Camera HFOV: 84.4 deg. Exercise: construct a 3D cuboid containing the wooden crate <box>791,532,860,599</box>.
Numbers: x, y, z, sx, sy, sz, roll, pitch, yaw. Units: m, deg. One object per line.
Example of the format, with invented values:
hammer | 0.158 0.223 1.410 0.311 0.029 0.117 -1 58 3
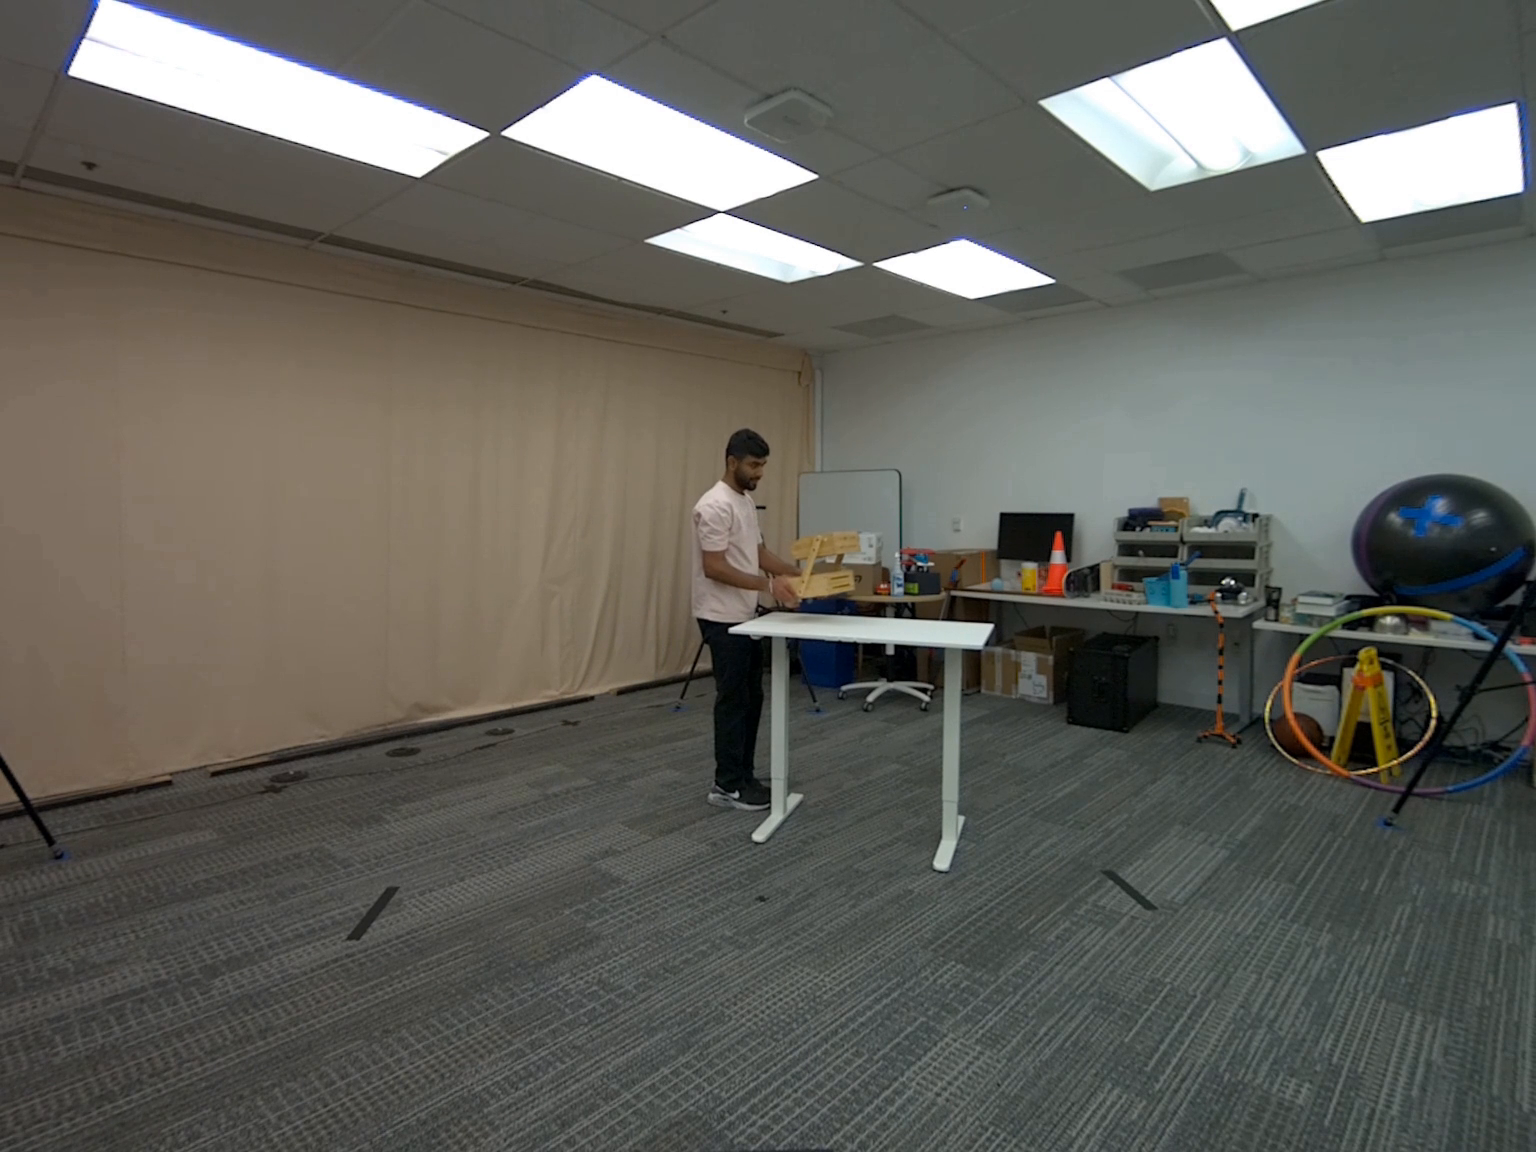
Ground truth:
wooden crate | 0.220 -0.051 3.749 0.310 0.273 0.316 -7 -1 29
